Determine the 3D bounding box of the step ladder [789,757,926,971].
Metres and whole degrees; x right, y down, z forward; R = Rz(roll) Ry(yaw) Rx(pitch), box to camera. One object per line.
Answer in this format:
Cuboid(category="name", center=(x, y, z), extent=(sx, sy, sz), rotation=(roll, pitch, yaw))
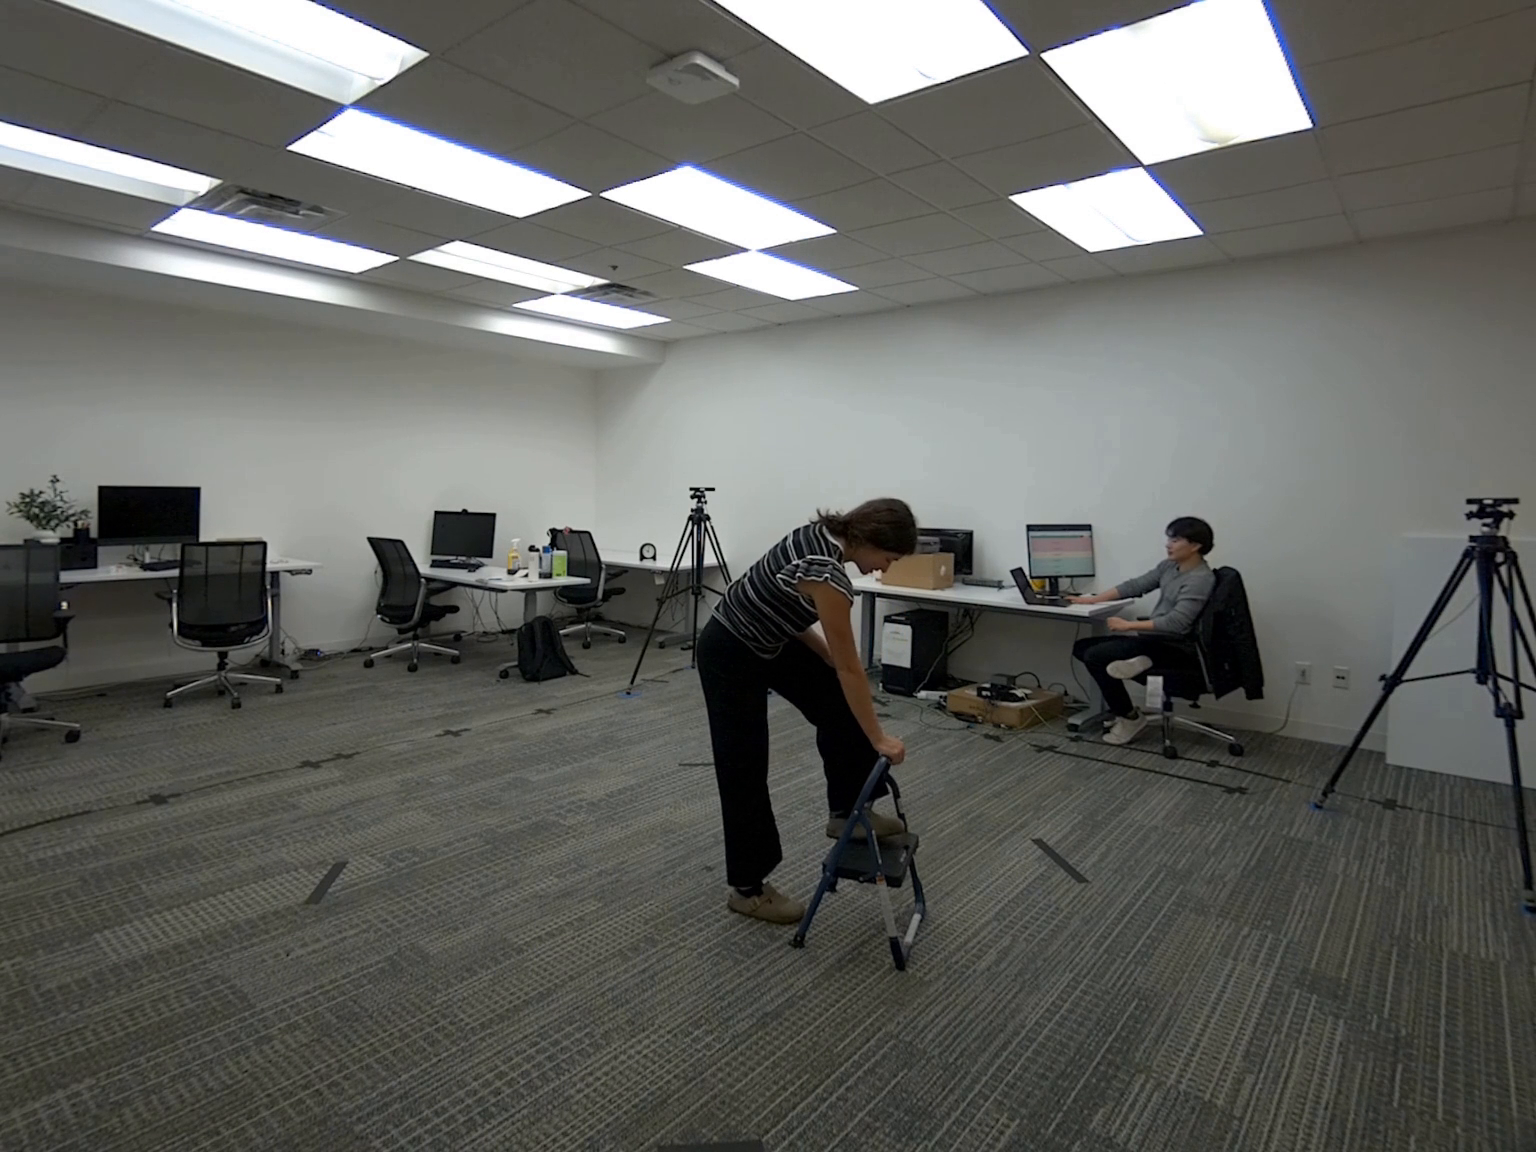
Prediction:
Cuboid(category="step ladder", center=(0.301, 0.815, 2.704), extent=(0.357, 0.604, 0.423), rotation=(3, 4, 20))
